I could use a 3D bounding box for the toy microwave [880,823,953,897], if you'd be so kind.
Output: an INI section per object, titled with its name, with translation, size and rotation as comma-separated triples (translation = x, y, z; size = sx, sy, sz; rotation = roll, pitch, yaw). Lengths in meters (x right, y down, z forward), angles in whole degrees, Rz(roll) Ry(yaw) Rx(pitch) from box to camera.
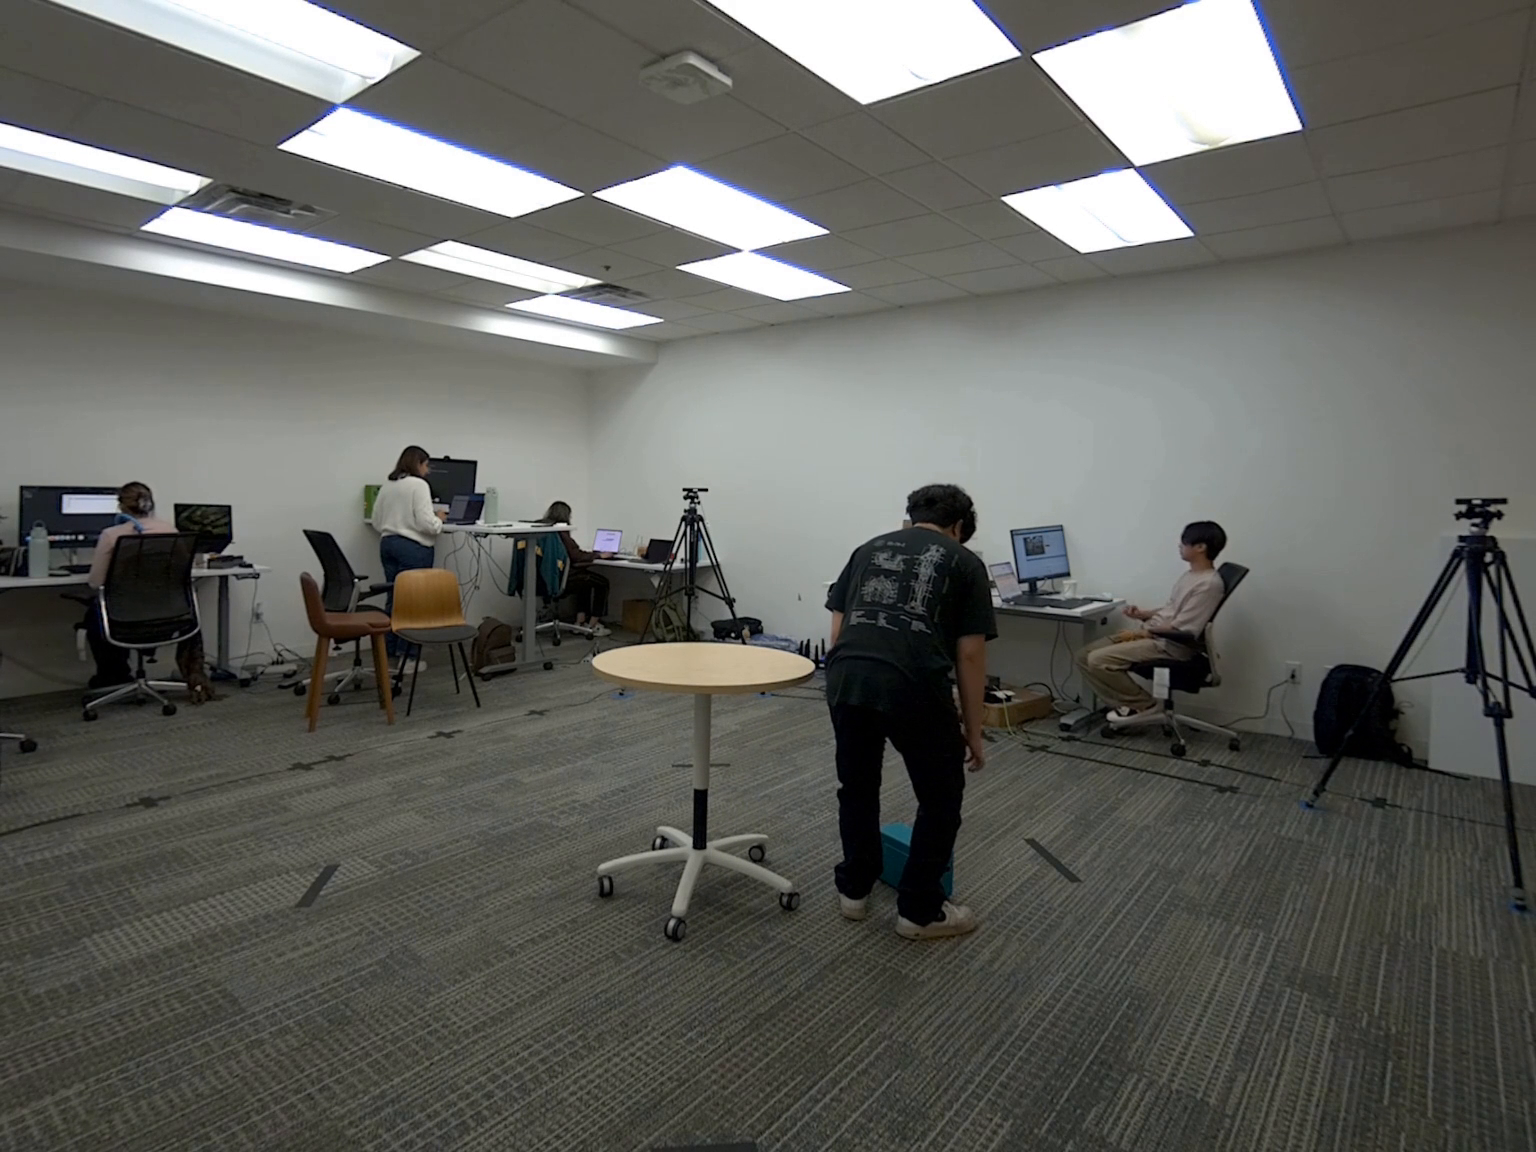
[toy microwave]
translation = 0.505, 1.001, 2.999
size = 0.148, 0.183, 0.296
rotation = 0, 5, -36
